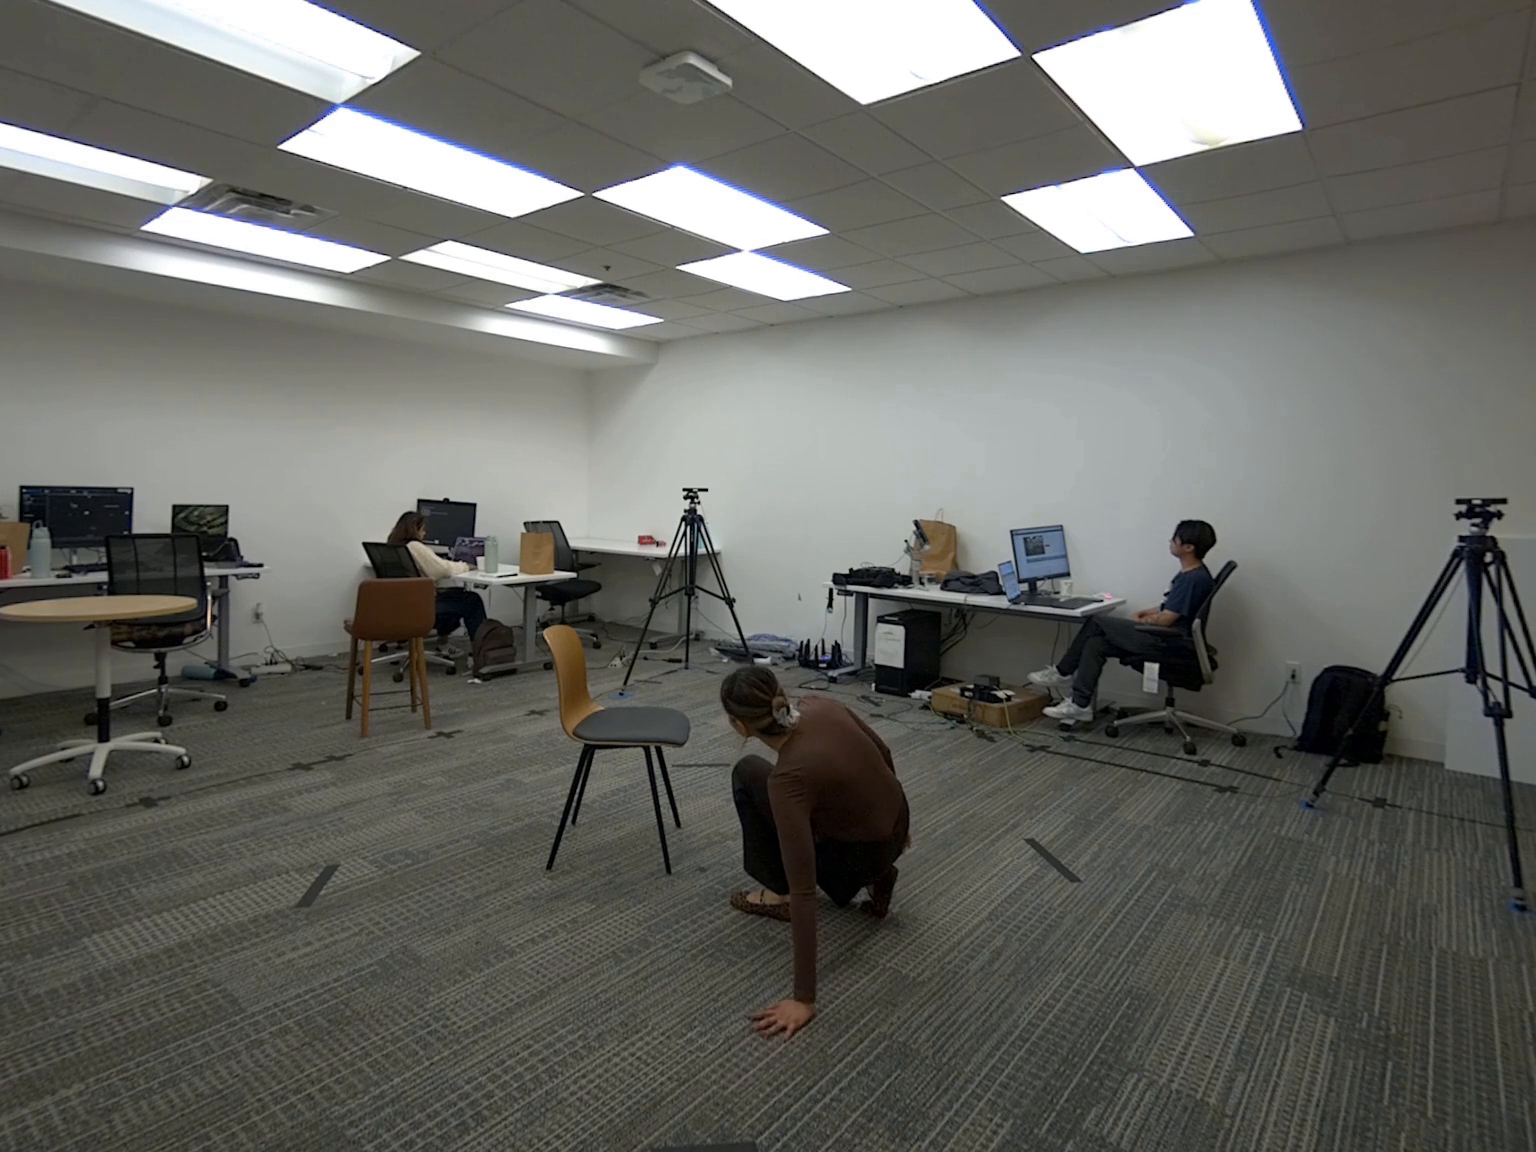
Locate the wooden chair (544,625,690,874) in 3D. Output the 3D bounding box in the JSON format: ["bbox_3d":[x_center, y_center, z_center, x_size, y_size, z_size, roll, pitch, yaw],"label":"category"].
[{"bbox_3d":[-0.576,0.620,3.266,0.524,0.876,0.478,-3,2,1],"label":"wooden chair"}]
